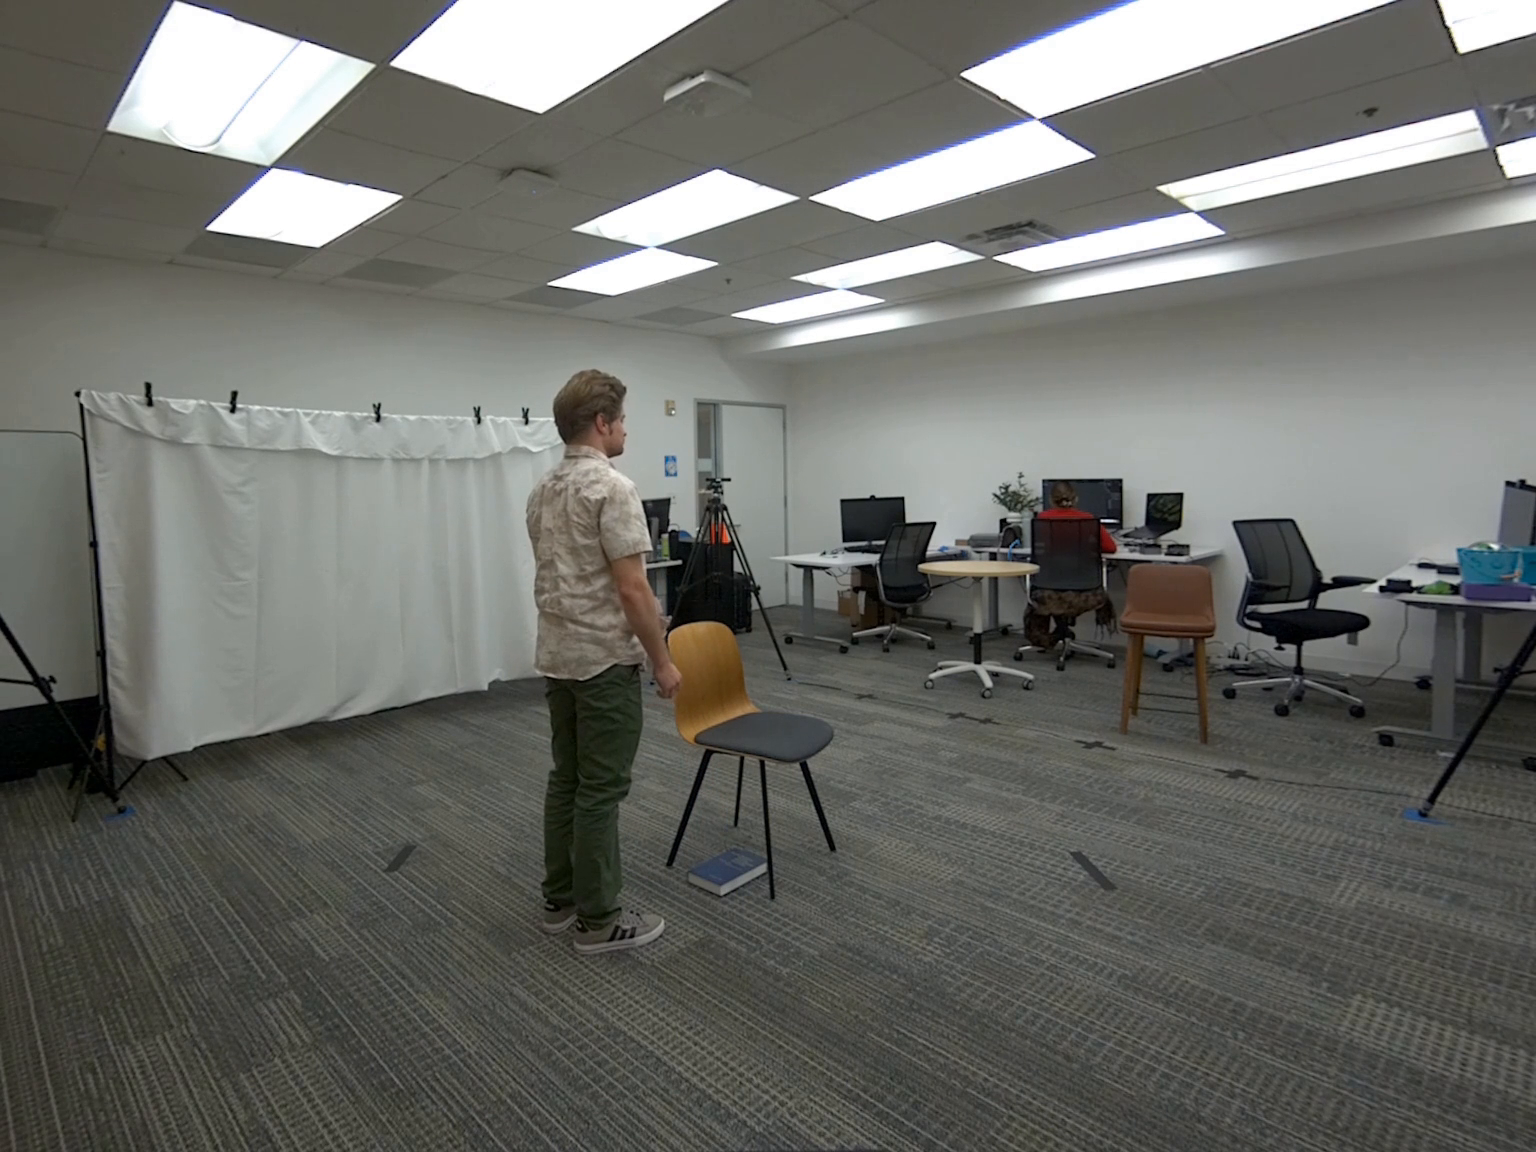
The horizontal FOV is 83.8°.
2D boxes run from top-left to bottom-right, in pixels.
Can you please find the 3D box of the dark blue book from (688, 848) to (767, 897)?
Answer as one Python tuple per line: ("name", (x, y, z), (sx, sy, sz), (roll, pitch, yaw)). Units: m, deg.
("dark blue book", (-0.139, 1.032, 2.992), (0.168, 0.045, 0.239), (5, 9, 42))
